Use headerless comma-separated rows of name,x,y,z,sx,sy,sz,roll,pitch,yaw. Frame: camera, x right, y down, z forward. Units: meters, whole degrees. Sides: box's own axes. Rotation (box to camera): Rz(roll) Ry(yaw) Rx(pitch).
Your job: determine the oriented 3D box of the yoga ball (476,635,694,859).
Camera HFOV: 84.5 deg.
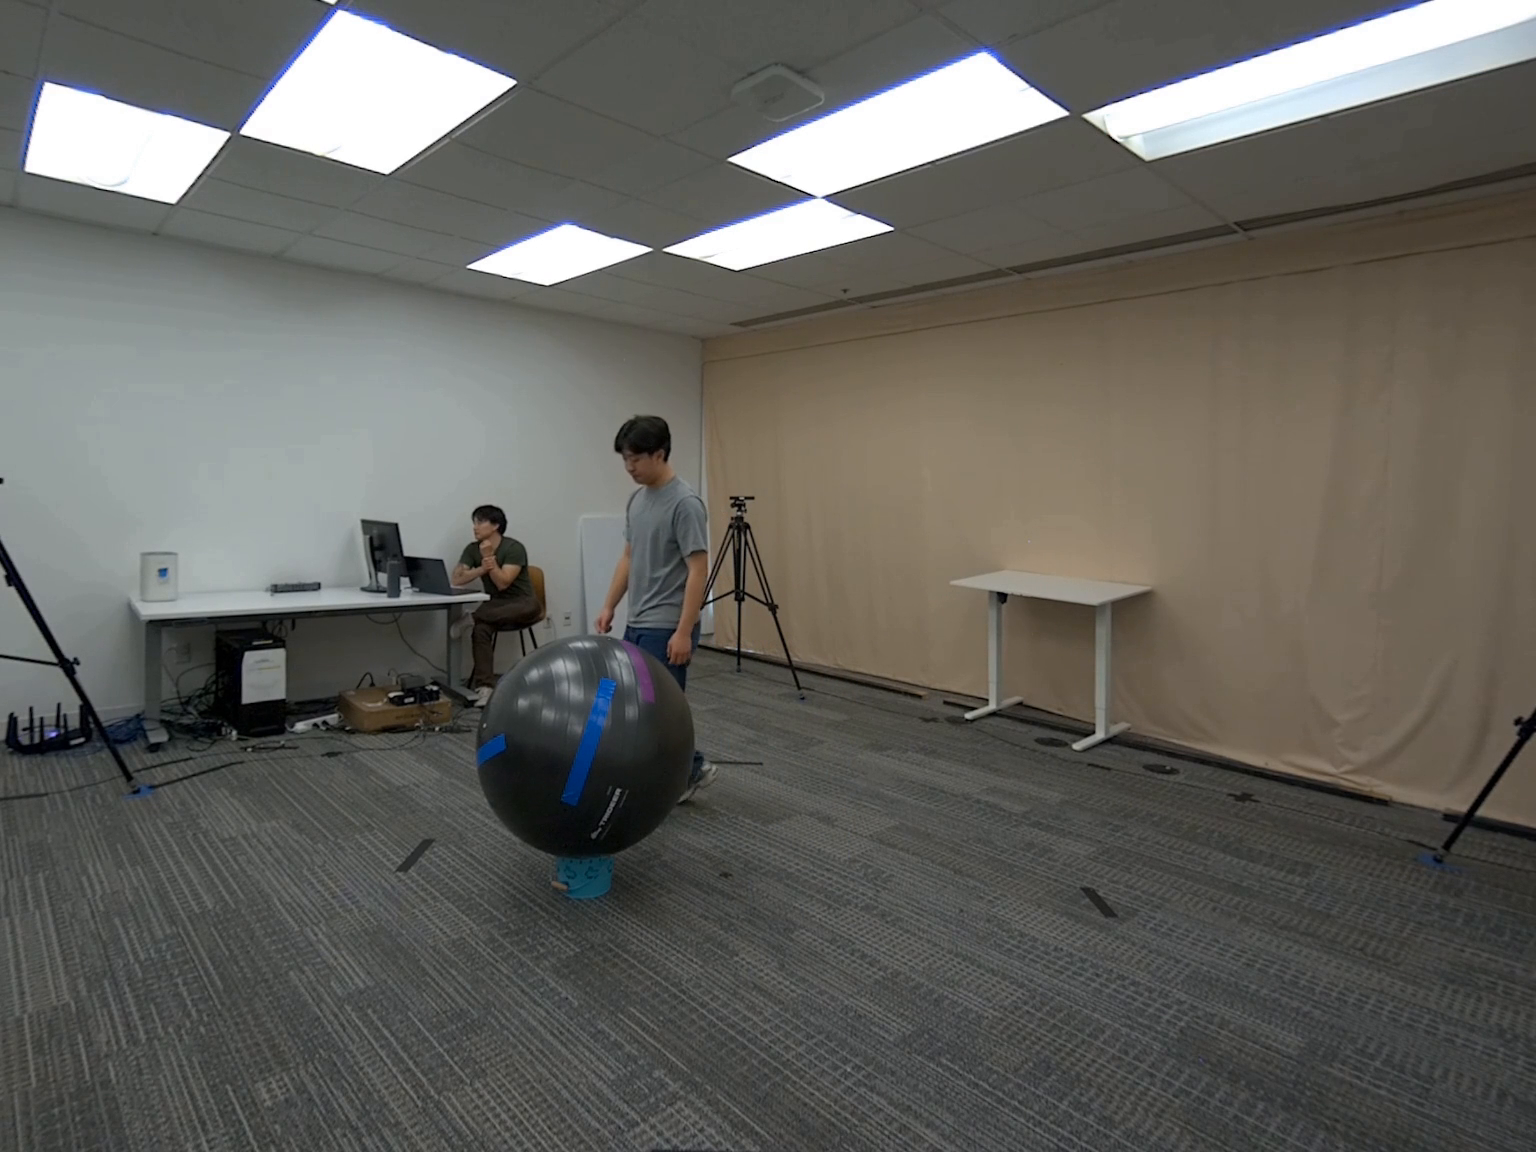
yoga ball,-0.643,0.595,2.967,0.757,0.756,0.761,1,4,-1
